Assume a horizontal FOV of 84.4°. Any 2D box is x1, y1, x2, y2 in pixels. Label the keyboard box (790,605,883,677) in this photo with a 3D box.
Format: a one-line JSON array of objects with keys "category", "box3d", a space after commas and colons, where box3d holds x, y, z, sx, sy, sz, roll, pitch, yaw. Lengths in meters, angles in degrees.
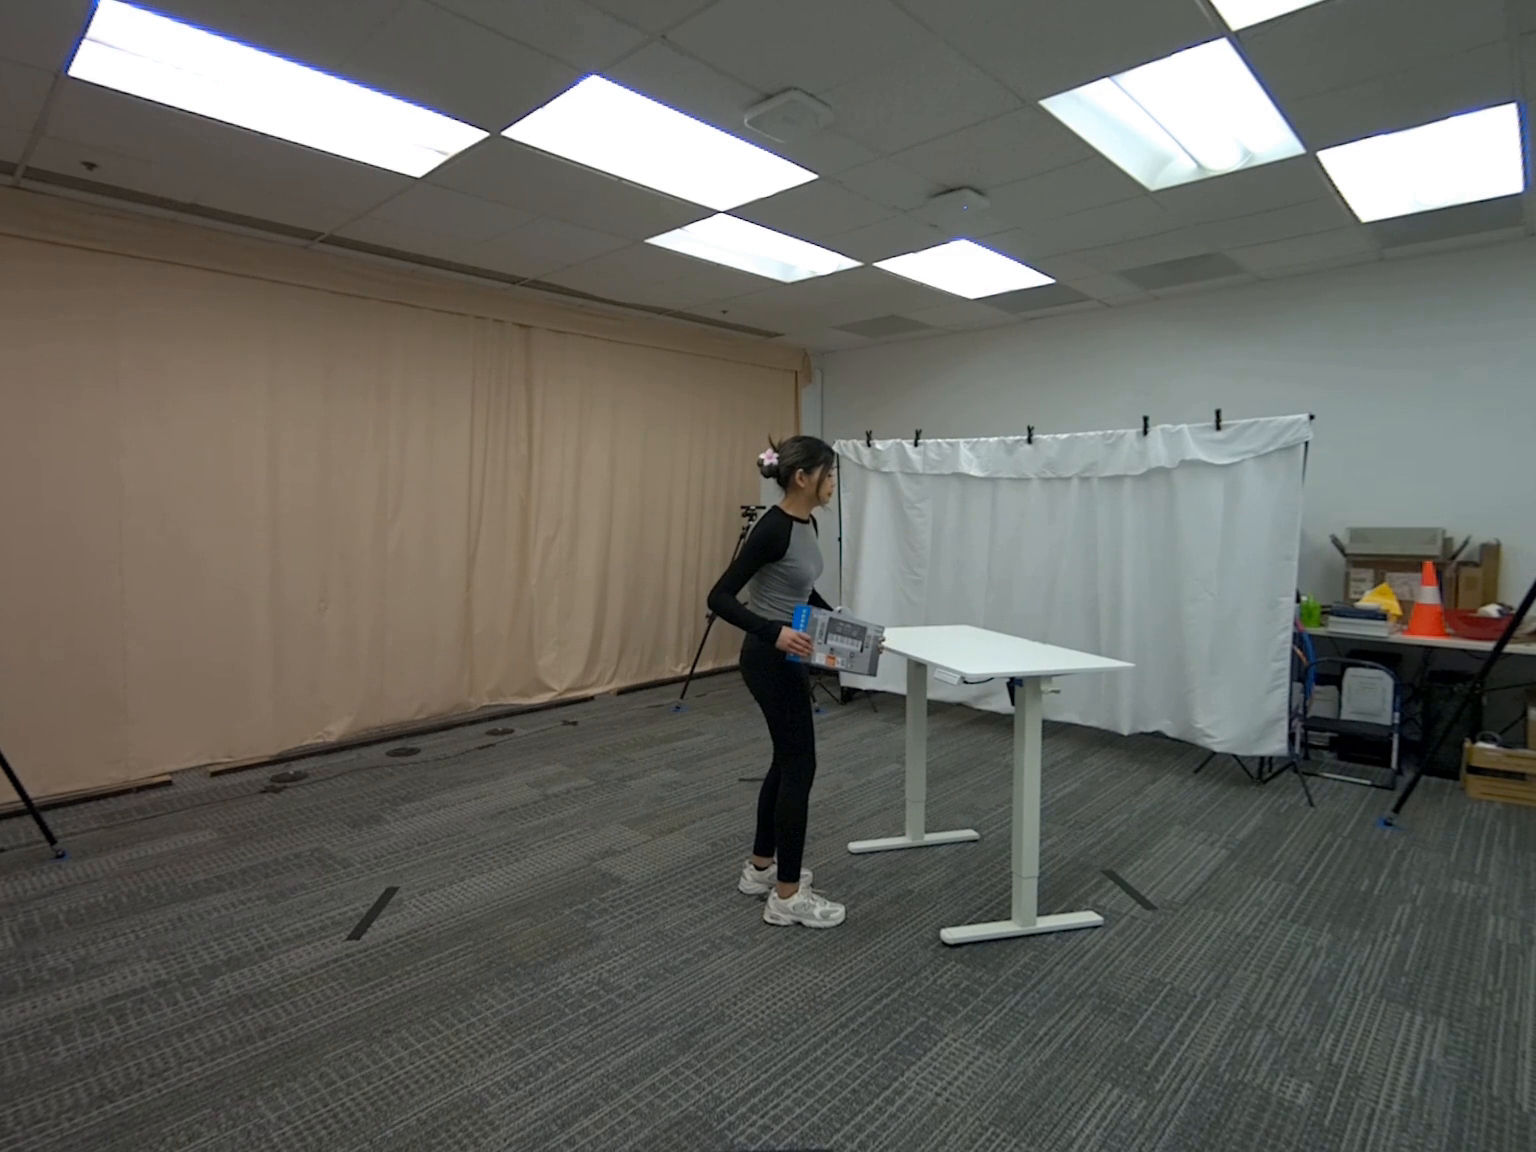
[{"category": "keyboard box", "box3d": [0.226, 0.215, 2.712, 0.061, 0.176, 0.421, 3, -10, 42]}]
